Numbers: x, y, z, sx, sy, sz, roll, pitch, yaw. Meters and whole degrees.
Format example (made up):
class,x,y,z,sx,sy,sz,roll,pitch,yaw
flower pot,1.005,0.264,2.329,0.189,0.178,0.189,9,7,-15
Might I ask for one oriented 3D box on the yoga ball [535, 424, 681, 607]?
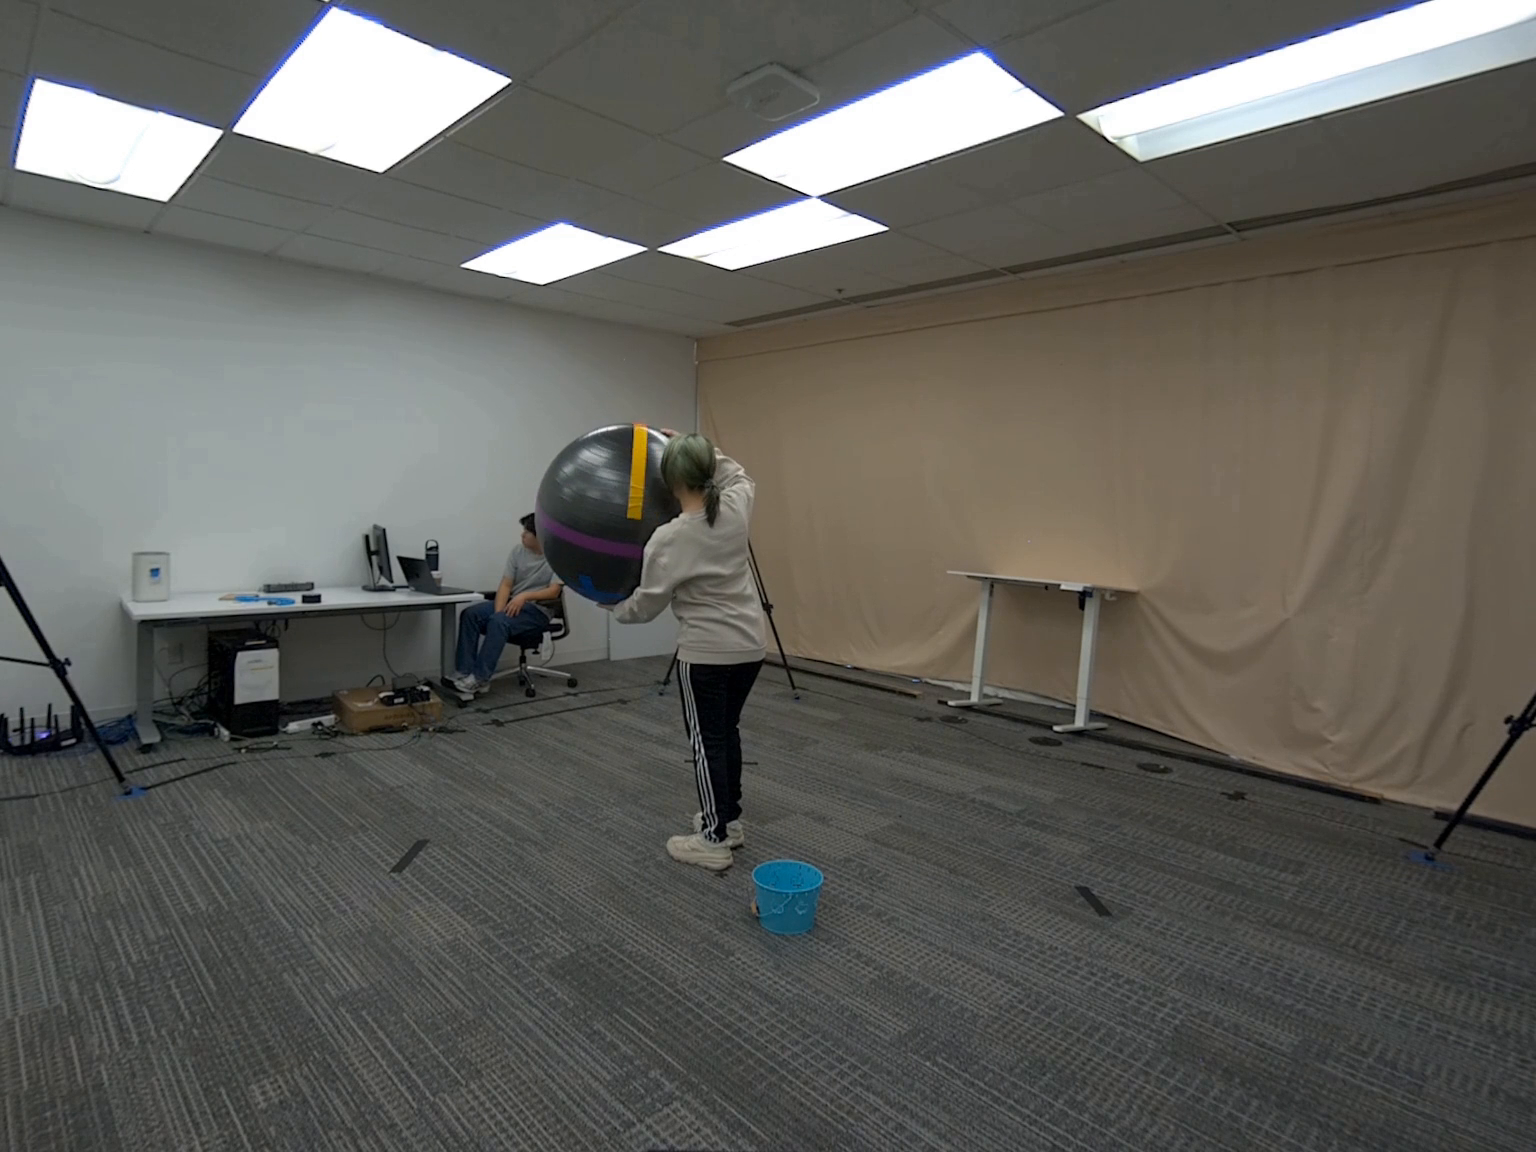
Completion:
class,x,y,z,sx,sy,sz,roll,pitch,yaw
yoga ball,-0.592,-0.251,3.506,0.757,0.756,0.761,1,4,-1
